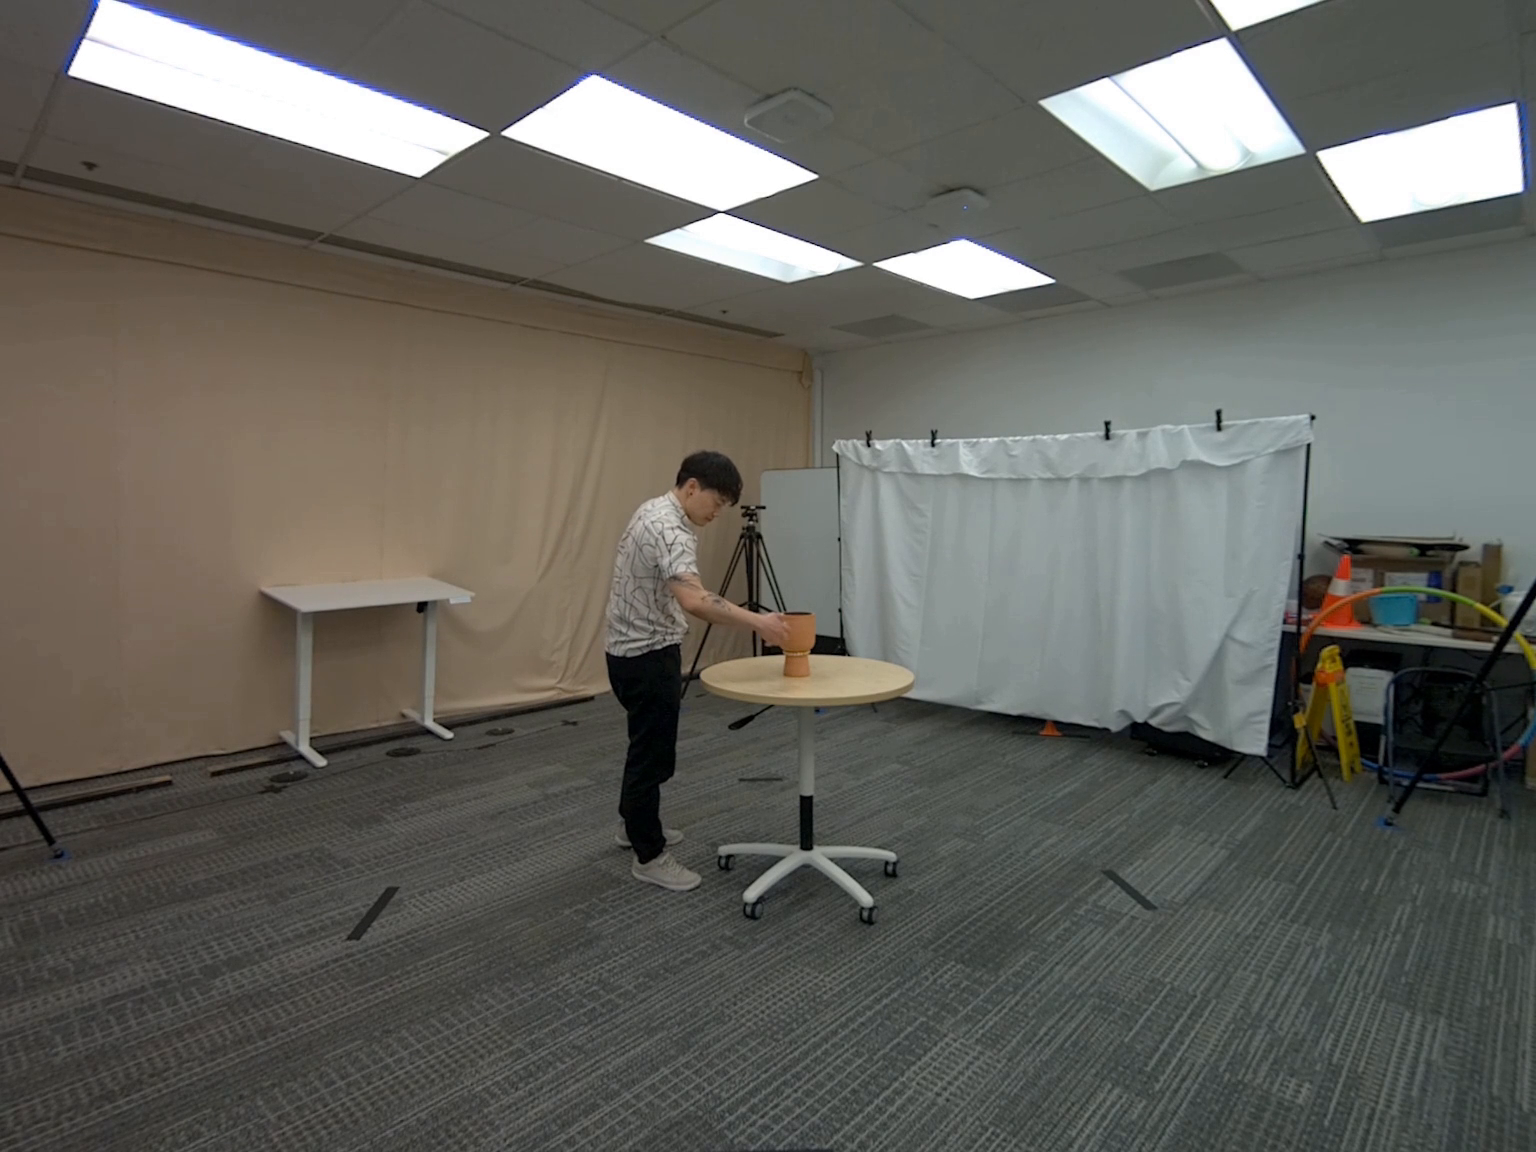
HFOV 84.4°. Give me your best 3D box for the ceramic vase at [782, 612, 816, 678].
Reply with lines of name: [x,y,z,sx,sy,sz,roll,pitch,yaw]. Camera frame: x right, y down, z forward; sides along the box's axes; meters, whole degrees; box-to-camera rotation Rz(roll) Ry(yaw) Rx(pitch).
ceramic vase: [0.105,0.248,3.017,0.157,0.219,0.136,-2,3,-11]
